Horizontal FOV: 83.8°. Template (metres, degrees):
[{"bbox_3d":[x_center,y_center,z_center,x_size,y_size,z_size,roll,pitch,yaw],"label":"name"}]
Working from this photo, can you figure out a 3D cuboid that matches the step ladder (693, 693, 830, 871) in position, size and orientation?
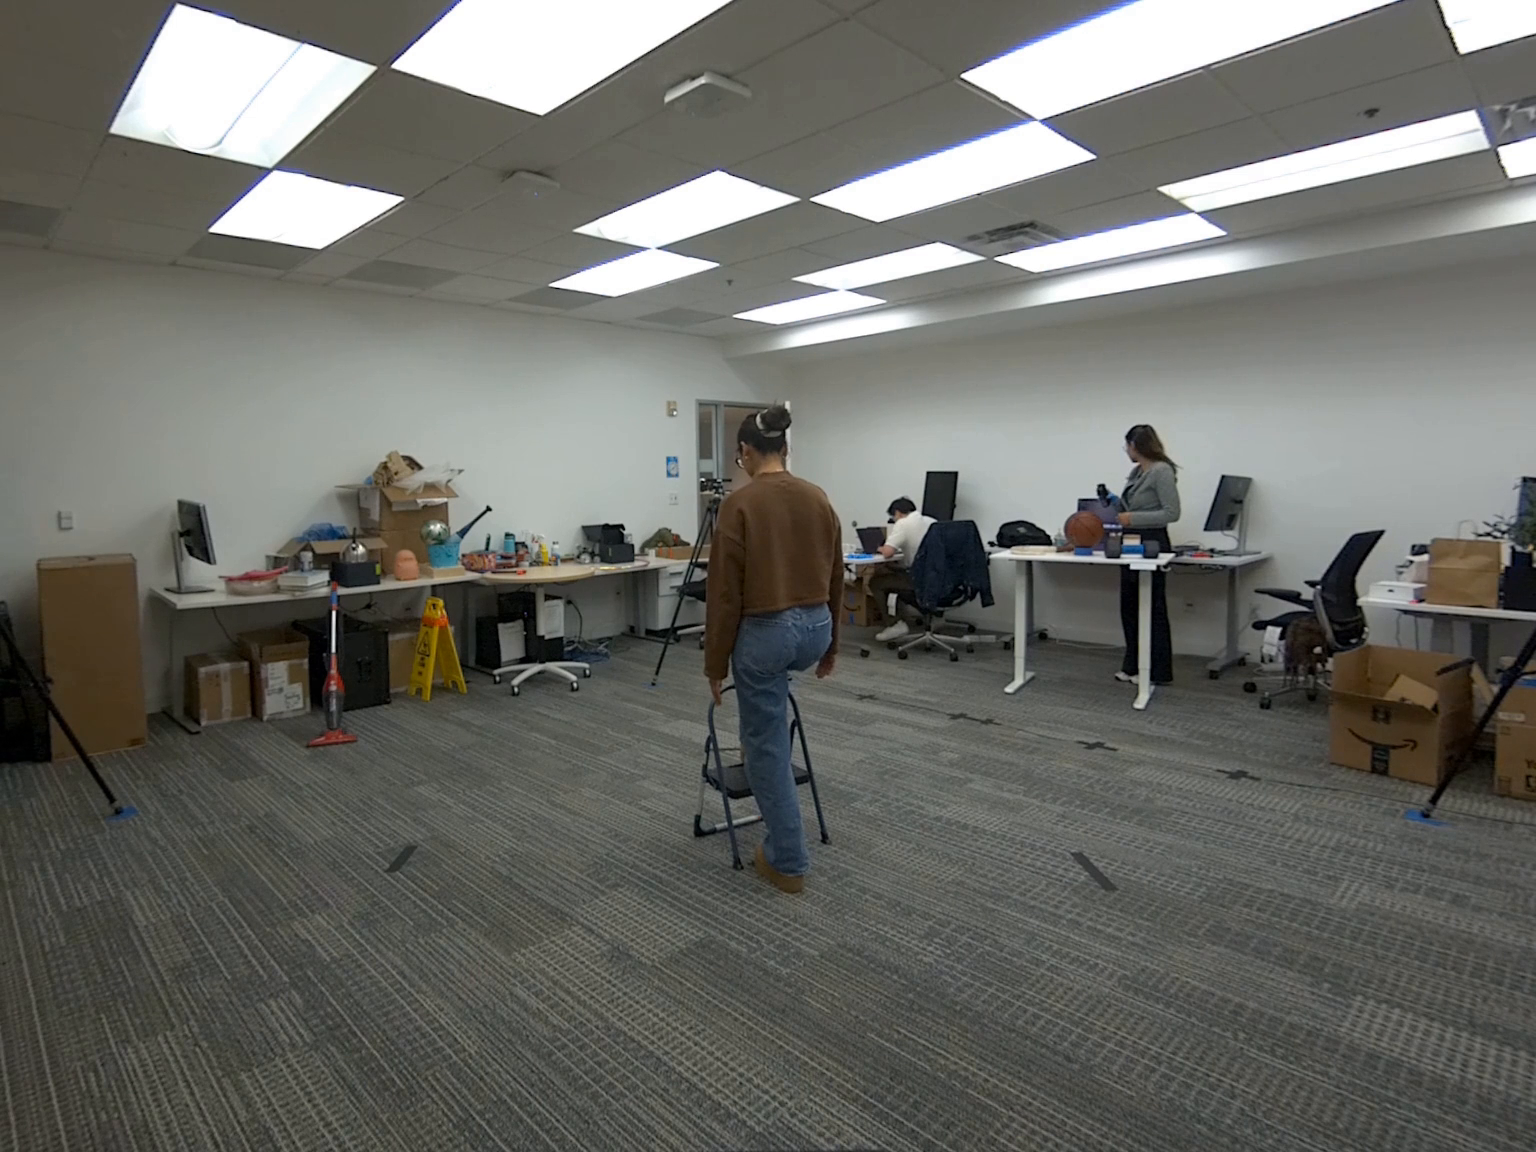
[{"bbox_3d":[-0.031,0.719,3.293,0.420,0.604,0.359,-4,5,-33],"label":"step ladder"}]
